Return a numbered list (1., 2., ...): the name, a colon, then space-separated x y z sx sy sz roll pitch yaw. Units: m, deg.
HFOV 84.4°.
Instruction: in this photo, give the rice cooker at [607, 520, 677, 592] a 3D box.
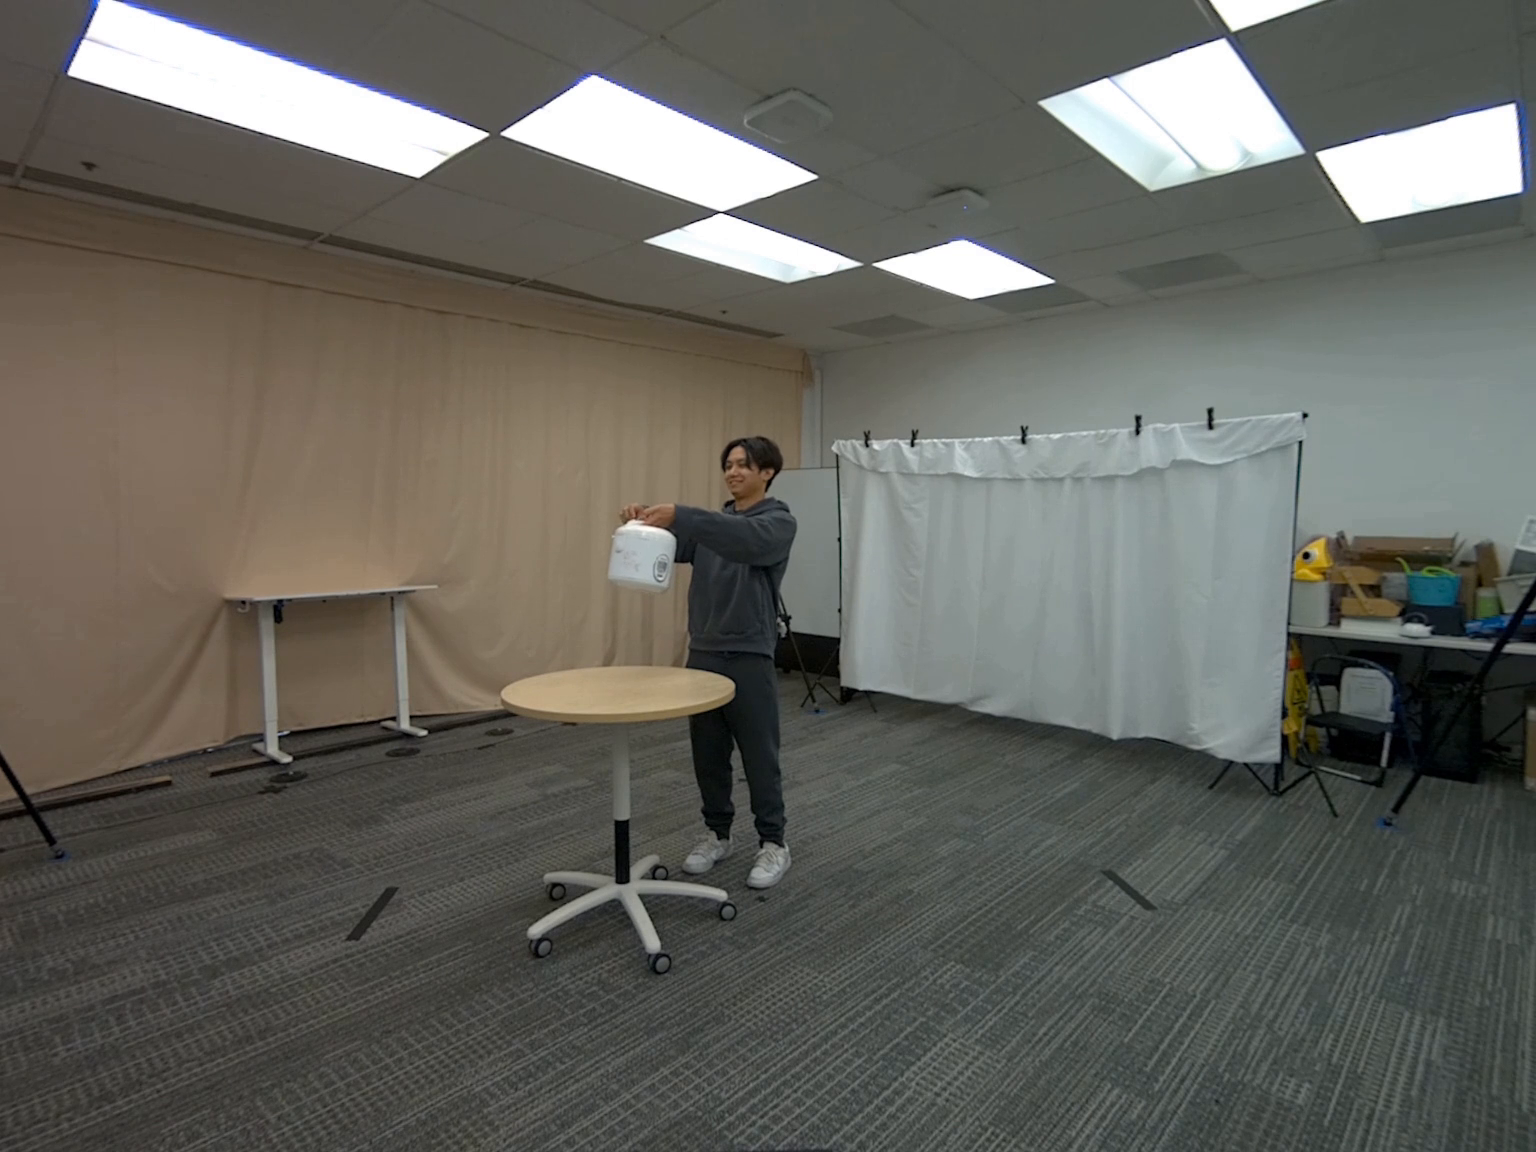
1. rice cooker: -0.410 -0.063 2.775 0.213 0.233 0.224 14 -10 -43
